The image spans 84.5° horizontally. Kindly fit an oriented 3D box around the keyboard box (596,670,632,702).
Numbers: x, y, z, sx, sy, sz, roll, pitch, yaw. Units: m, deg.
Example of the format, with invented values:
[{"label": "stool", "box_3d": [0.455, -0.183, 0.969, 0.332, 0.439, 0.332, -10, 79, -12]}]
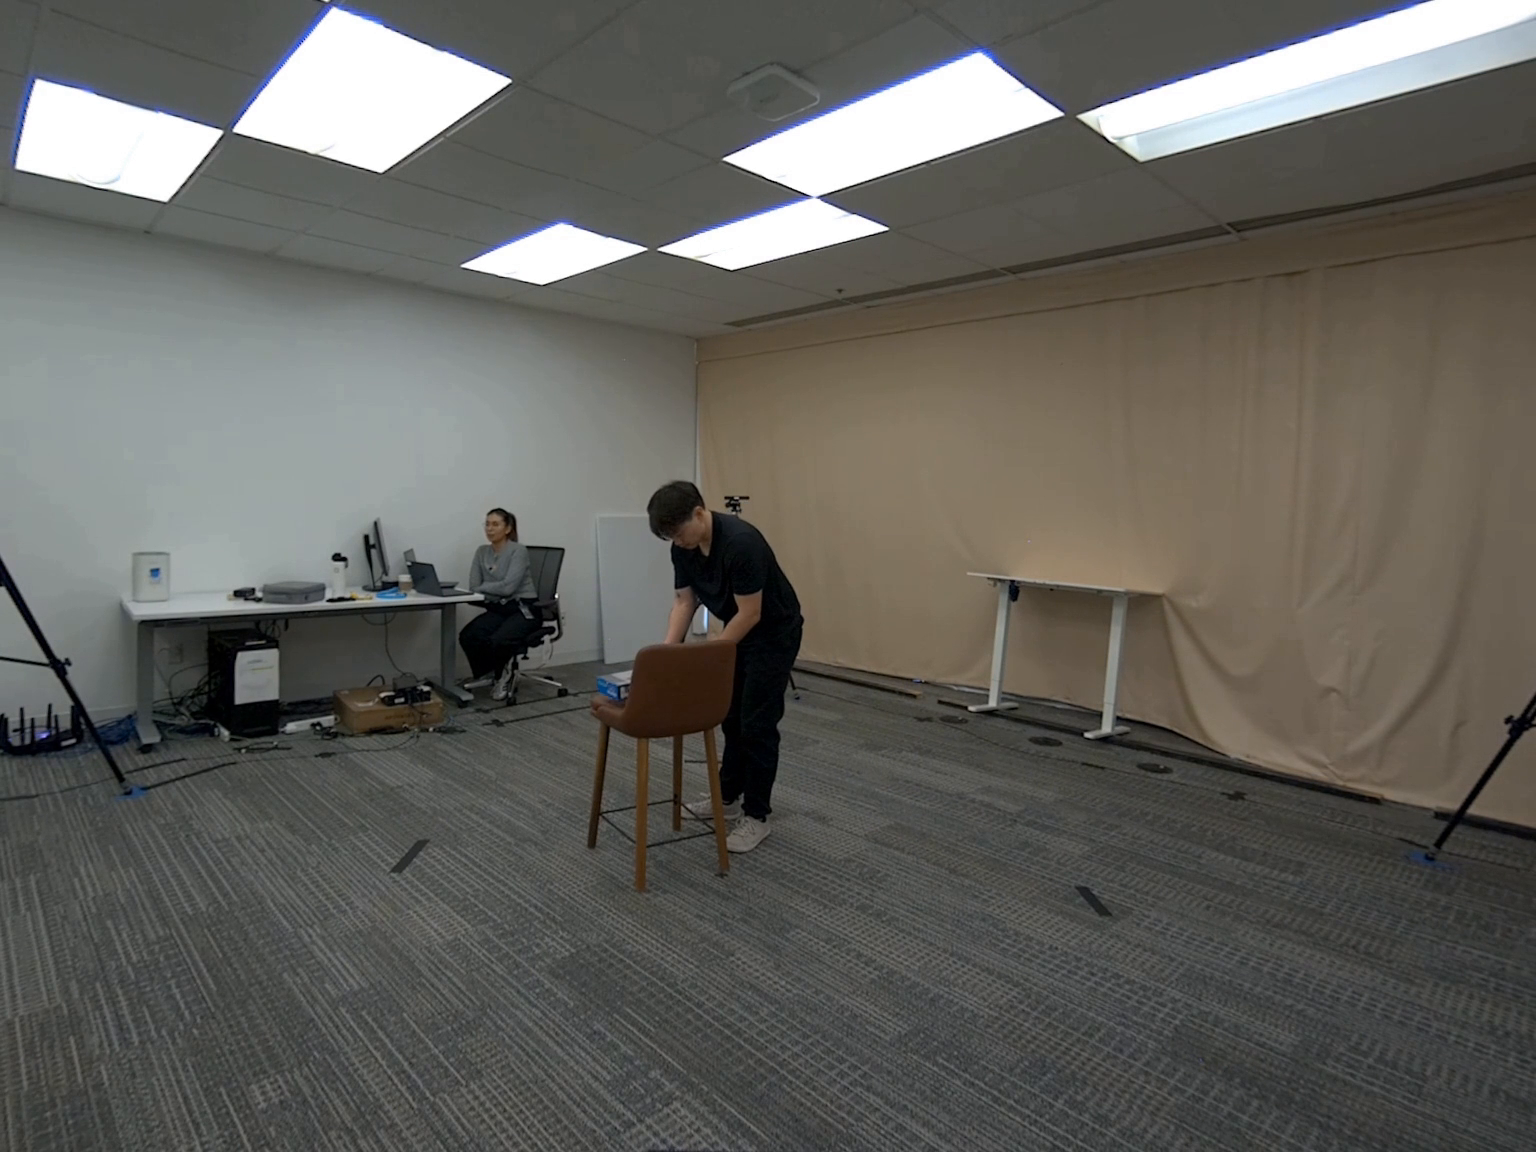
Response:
[{"label": "keyboard box", "box_3d": [-0.435, 0.395, 3.258, 0.429, 0.059, 0.180, -8, 9, -32]}]
